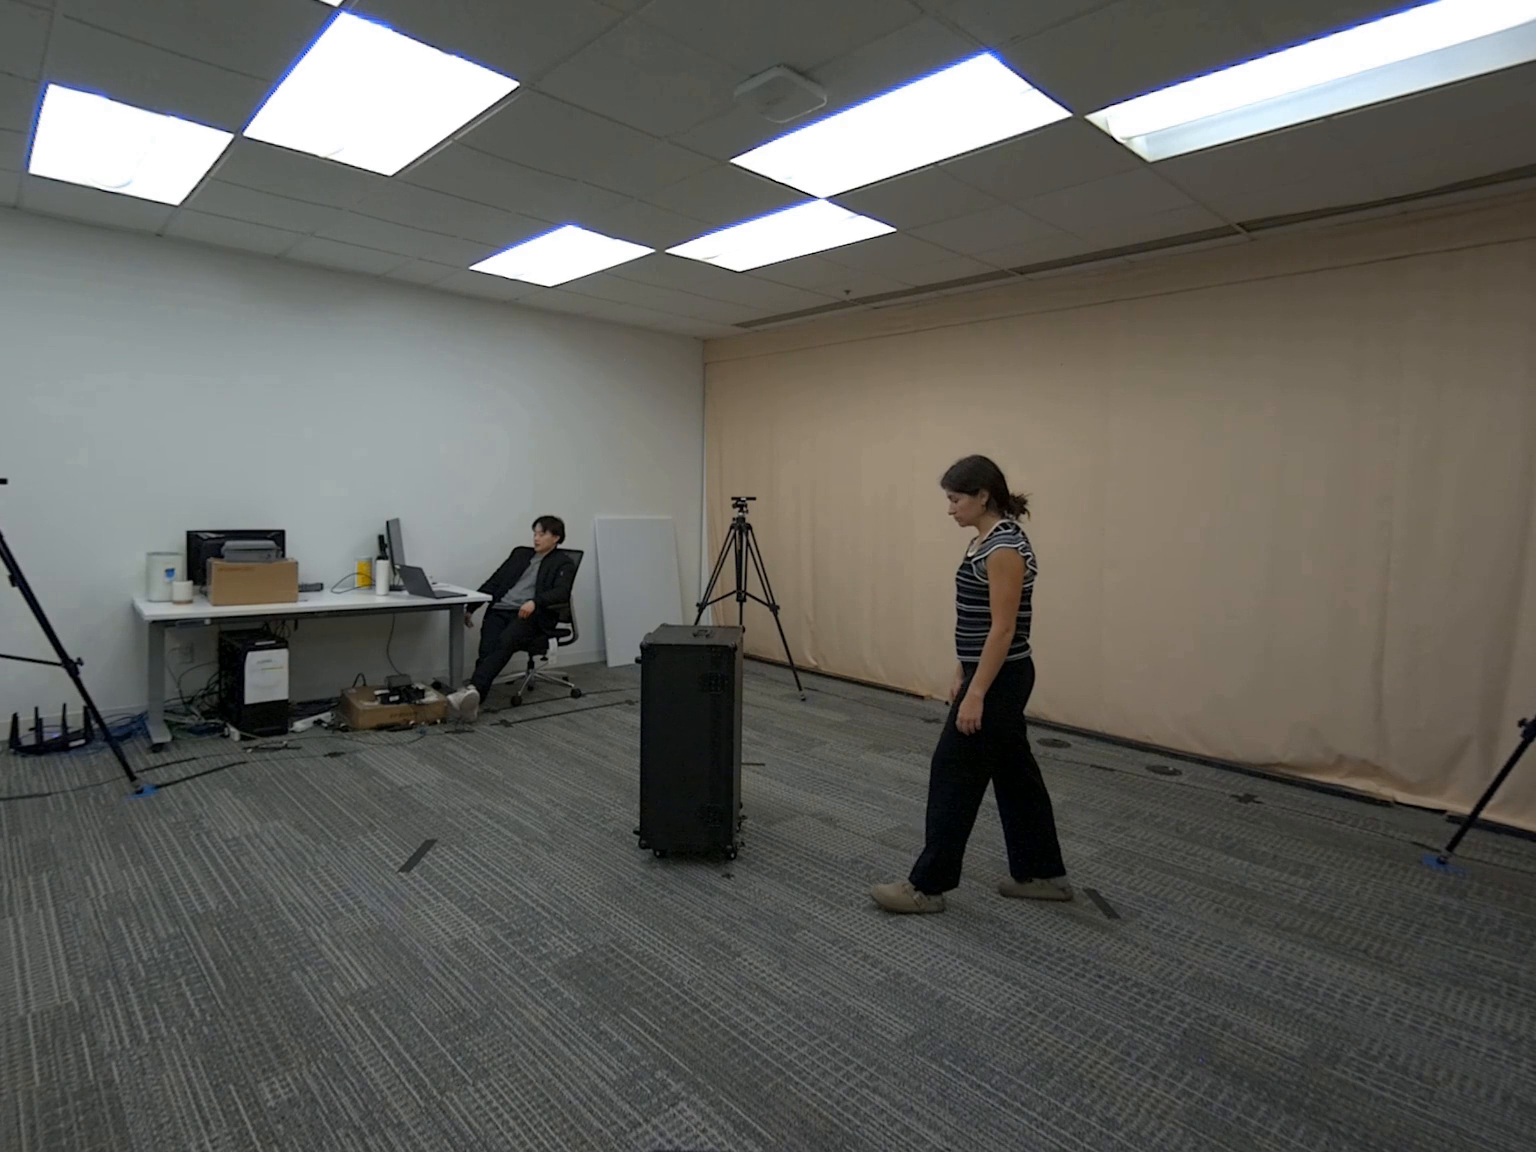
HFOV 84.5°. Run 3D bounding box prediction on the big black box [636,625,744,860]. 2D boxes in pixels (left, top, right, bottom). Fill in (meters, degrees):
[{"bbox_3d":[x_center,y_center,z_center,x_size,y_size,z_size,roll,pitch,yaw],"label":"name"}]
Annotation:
[{"bbox_3d":[-0.312,0.656,3.365,0.397,0.859,0.521,1,4,3],"label":"big black box"}]
